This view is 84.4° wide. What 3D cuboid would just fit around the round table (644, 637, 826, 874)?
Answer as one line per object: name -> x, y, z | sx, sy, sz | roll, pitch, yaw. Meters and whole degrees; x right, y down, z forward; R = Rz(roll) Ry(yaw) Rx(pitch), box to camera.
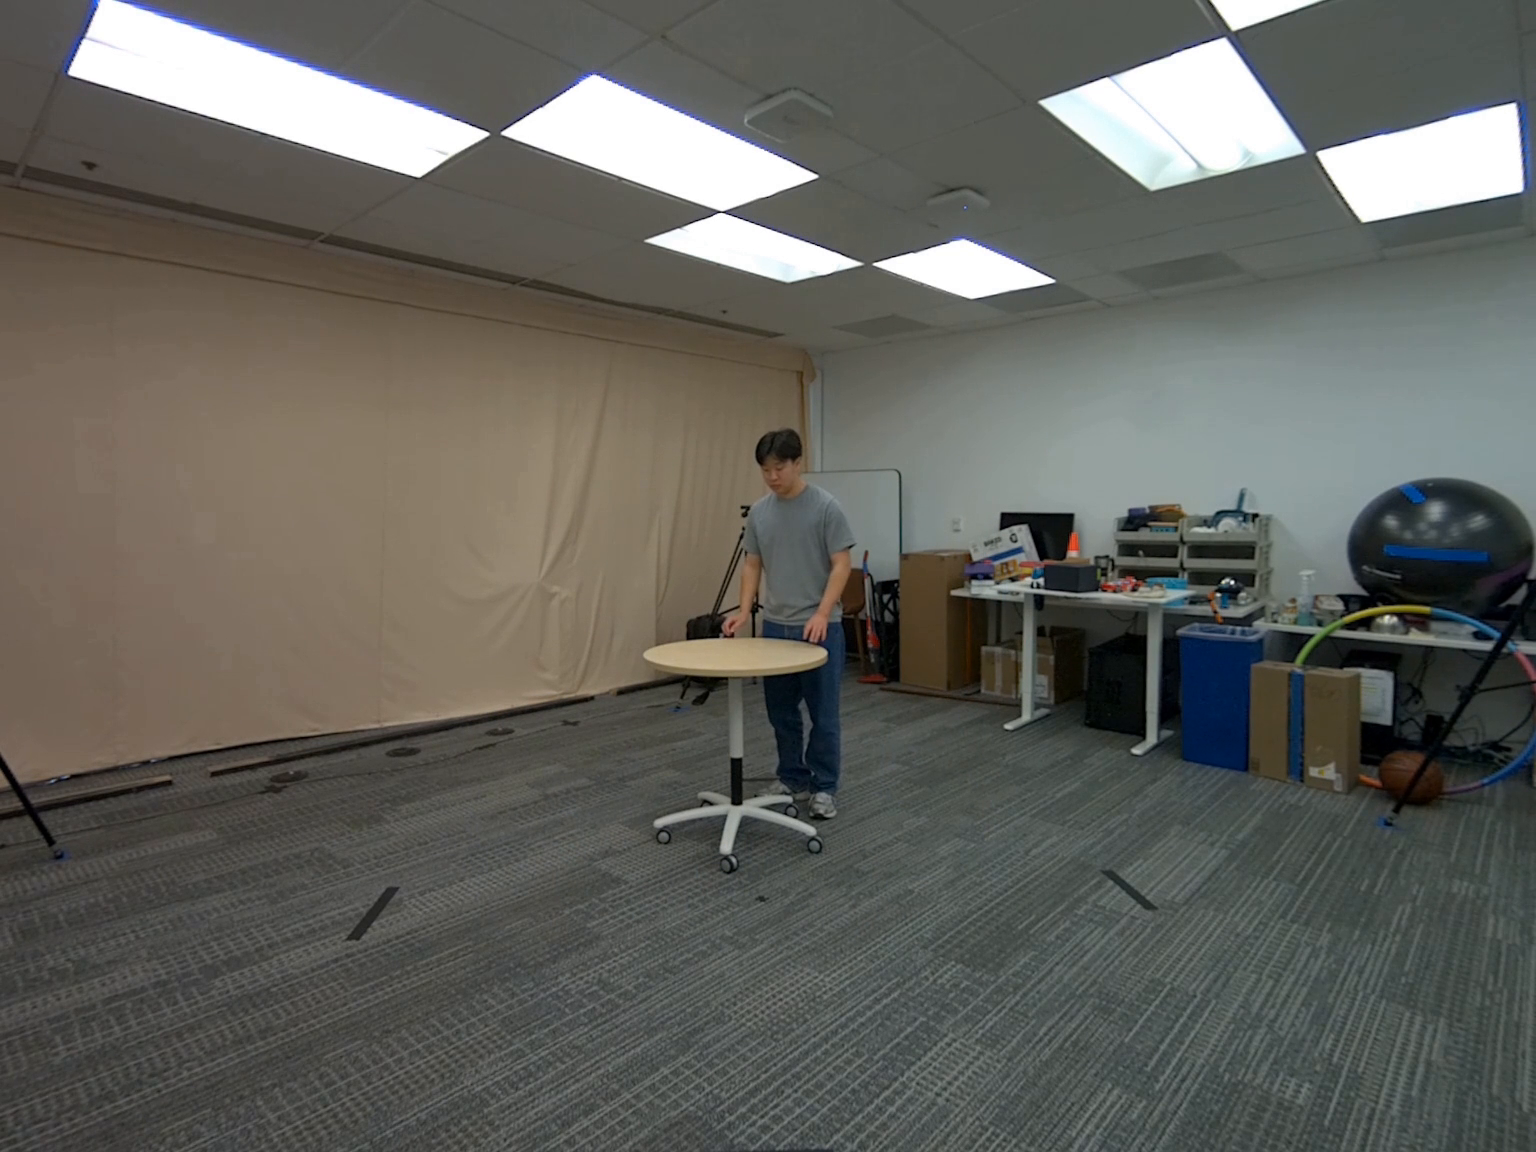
round table -> -0.133, 0.713, 3.520 | 0.763, 0.792, 0.766 | -1, 3, -2
